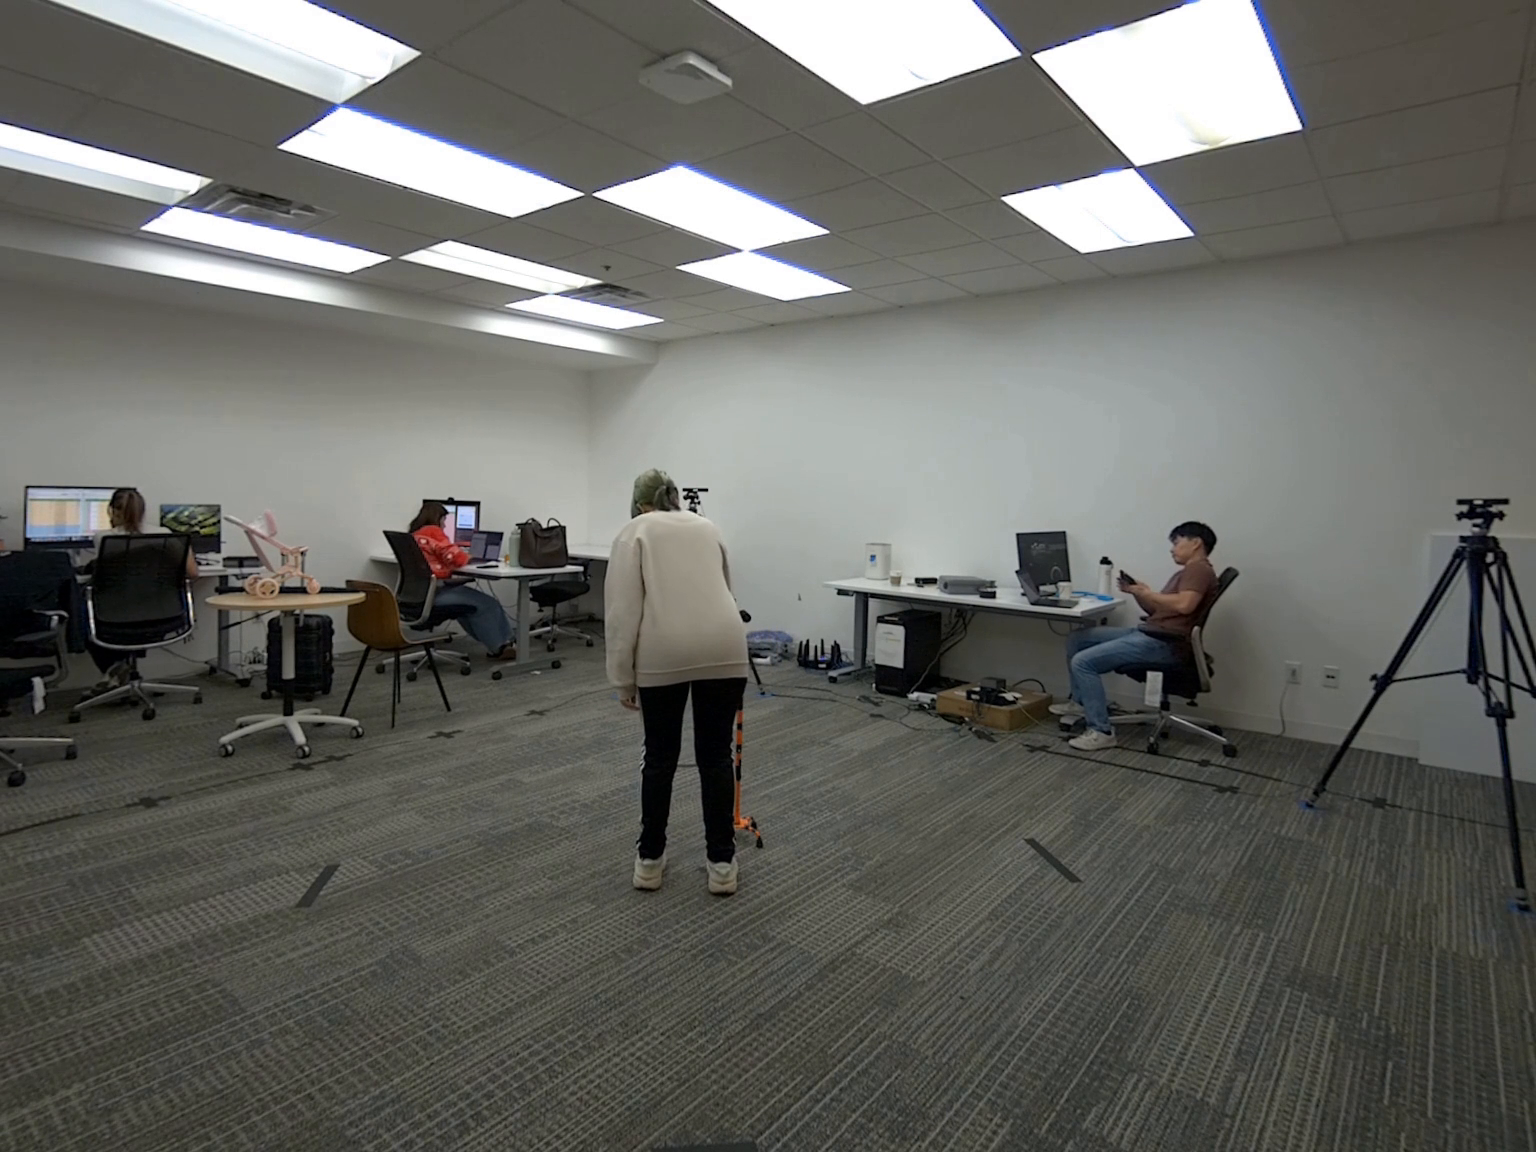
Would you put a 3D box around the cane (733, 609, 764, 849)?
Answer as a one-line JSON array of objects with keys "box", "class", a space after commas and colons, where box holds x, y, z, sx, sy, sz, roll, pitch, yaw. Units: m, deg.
[{"box": [-0.107, 0.589, 3.379, 0.150, 0.906, 0.208, 1, 2, -8], "class": "cane"}]
